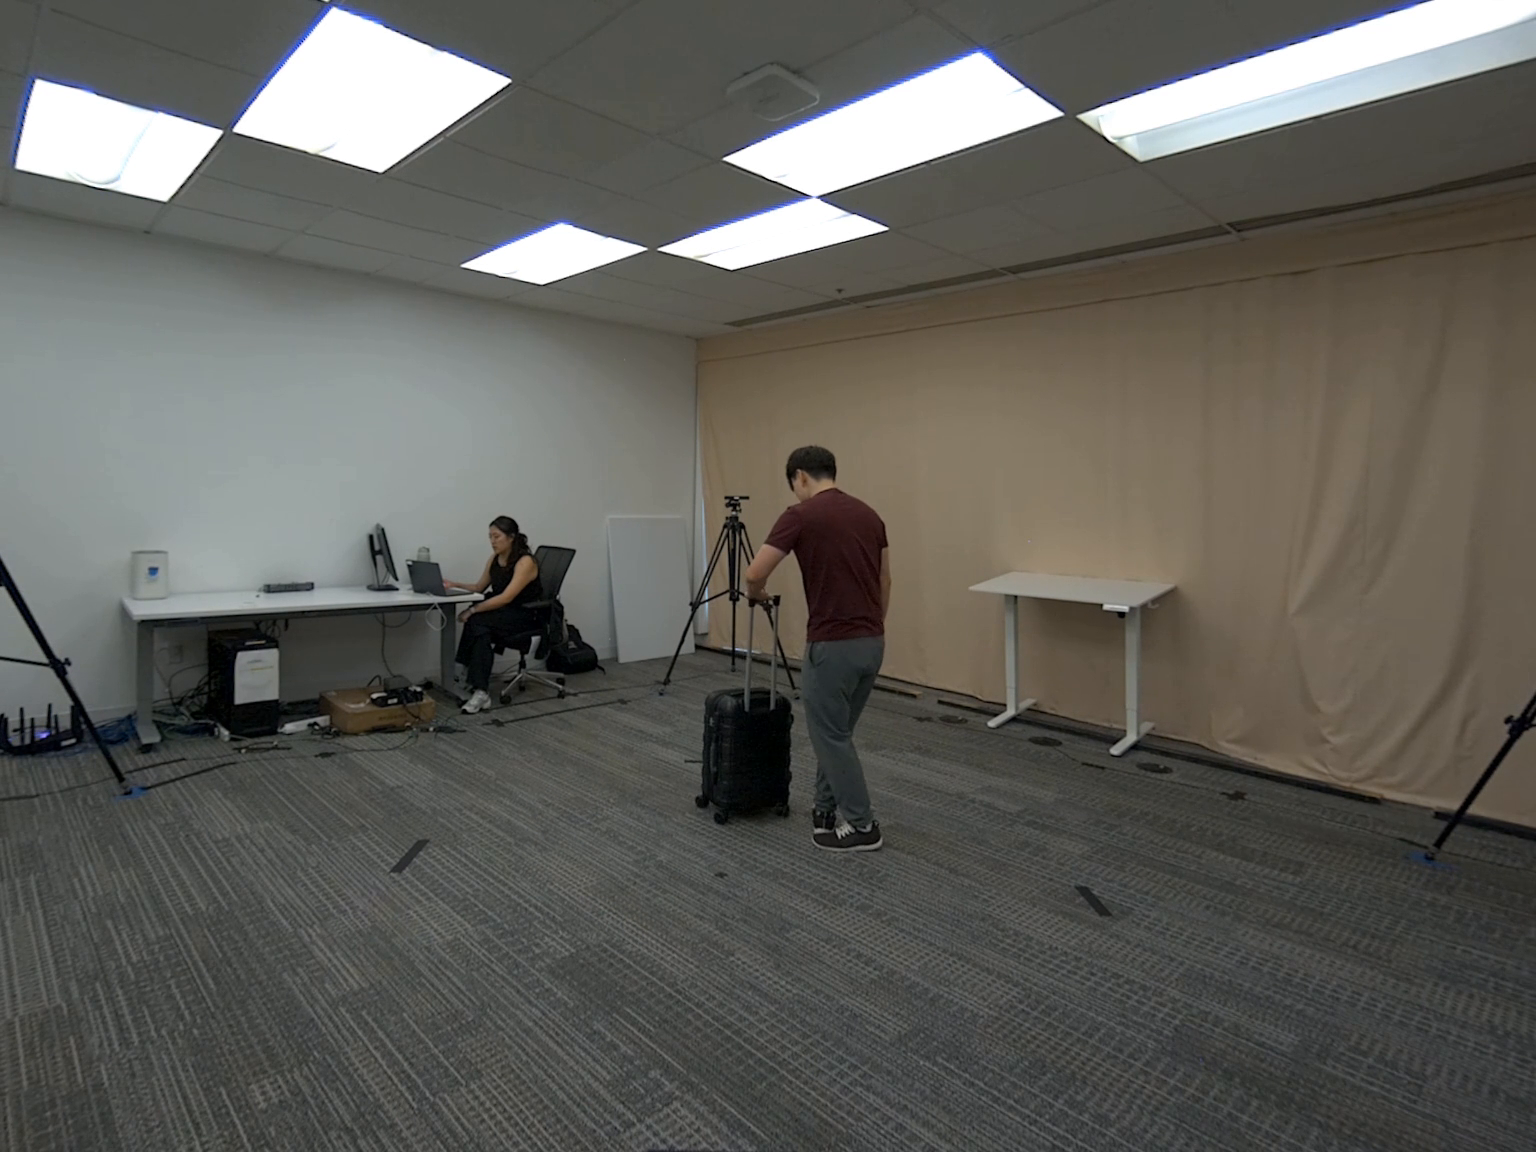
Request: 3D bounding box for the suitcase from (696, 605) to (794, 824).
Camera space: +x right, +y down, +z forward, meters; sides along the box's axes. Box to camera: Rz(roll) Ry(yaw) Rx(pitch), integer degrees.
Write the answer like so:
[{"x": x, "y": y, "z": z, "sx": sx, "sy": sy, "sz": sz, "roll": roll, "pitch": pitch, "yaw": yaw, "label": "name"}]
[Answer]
[{"x": -0.103, "y": 0.575, "z": 3.736, "sx": 0.378, "sy": 0.977, "sz": 0.261, "roll": 1, "pitch": 2, "yaw": -22, "label": "suitcase"}]
